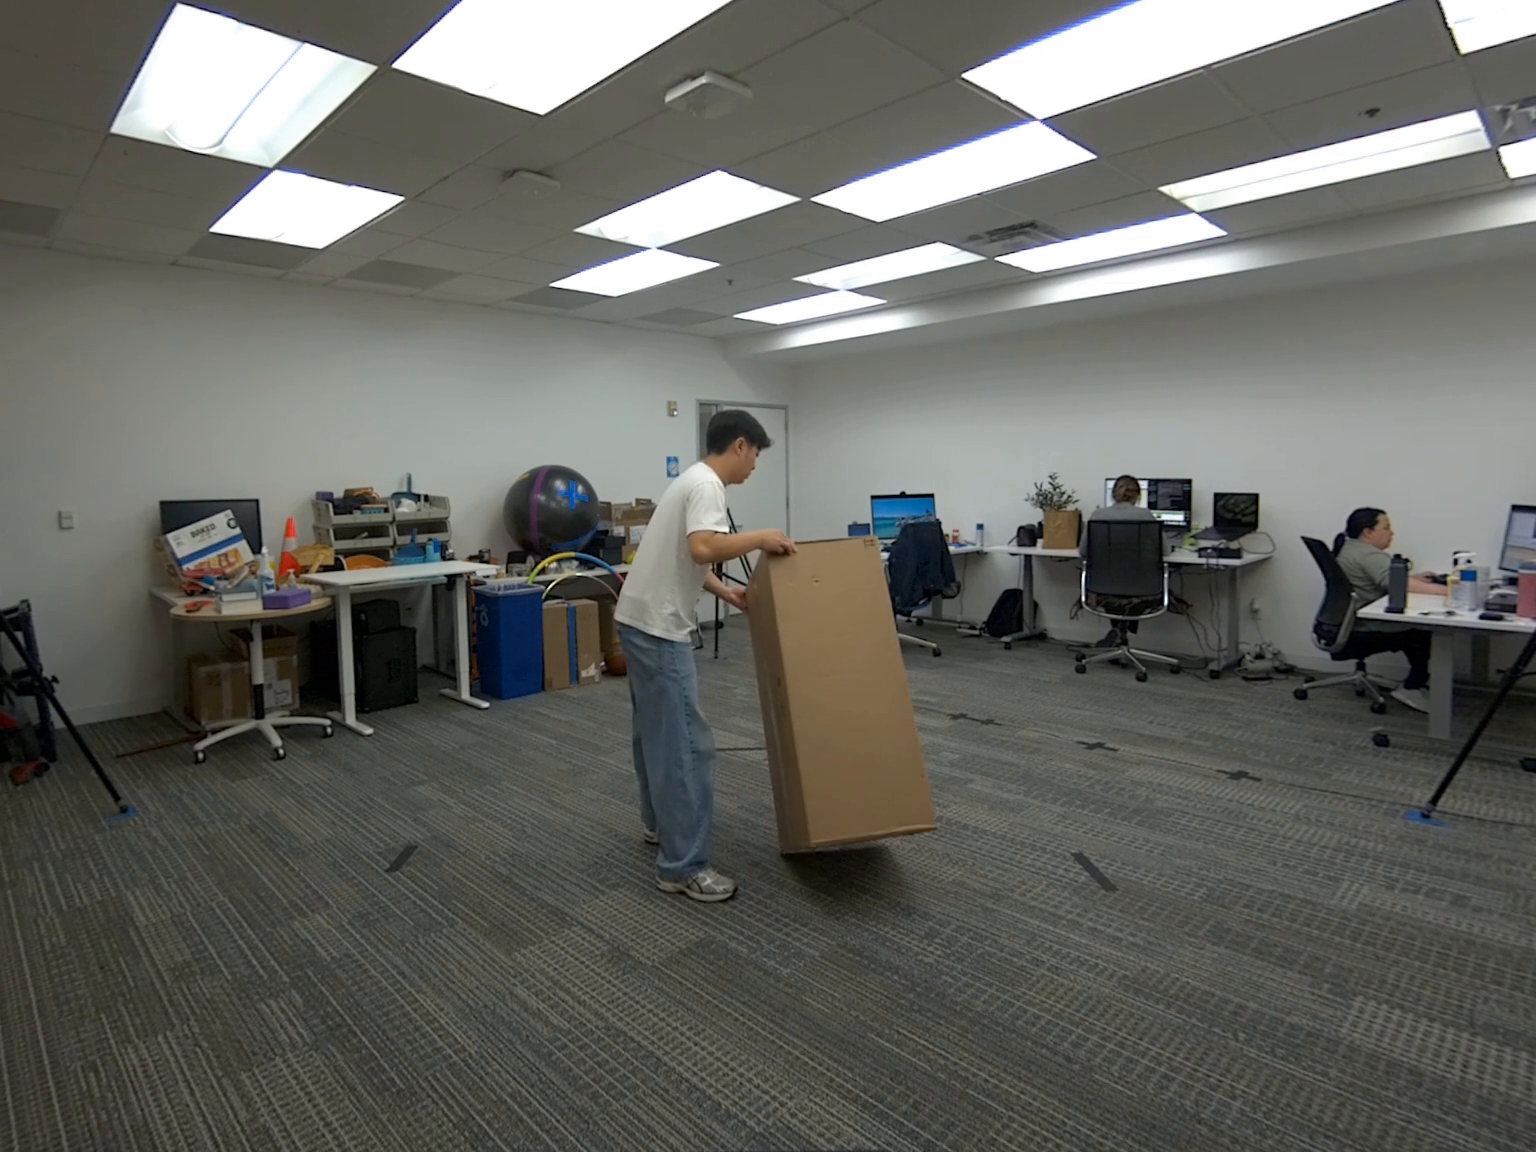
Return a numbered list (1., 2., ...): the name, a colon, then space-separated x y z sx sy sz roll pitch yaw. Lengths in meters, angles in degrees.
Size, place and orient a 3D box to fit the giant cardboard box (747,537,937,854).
1. giant cardboard box: 0.226 0.442 3.121 0.422 1.048 0.570 -5 -21 -10
